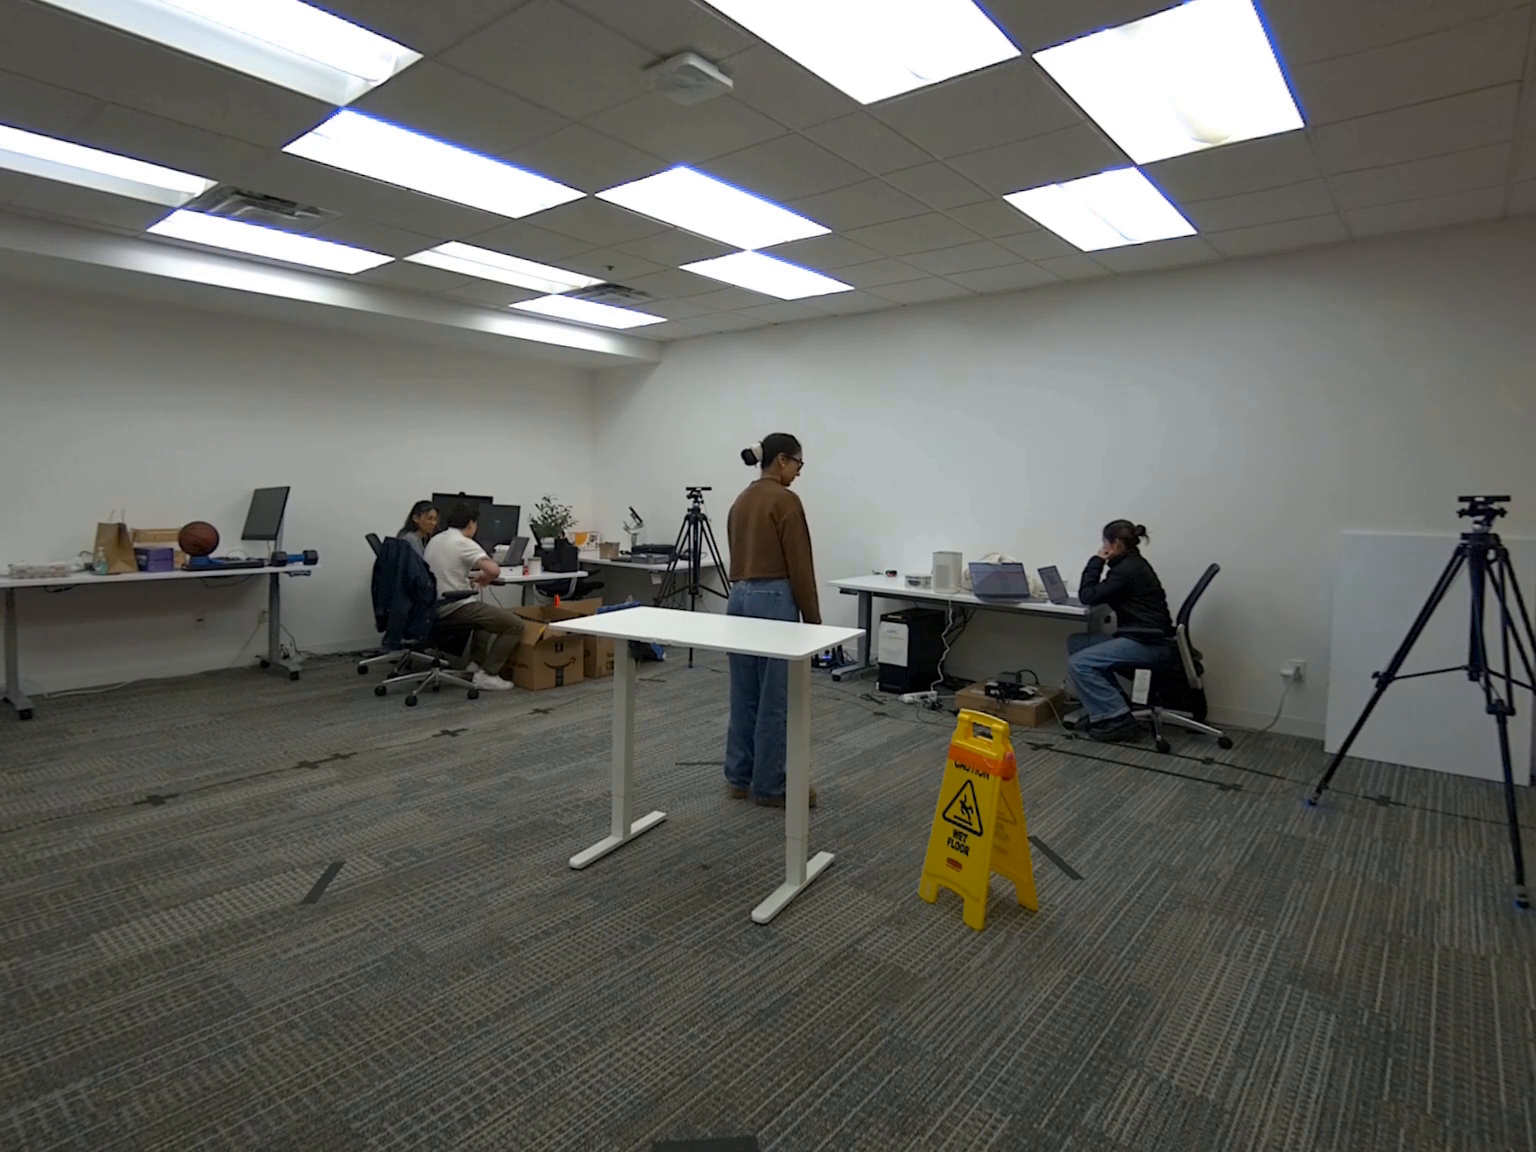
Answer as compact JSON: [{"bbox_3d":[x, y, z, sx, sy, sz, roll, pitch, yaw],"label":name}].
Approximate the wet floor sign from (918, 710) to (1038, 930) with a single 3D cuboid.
[{"bbox_3d":[0.716,0.787,2.874,0.281,0.644,0.291,0,4,-33],"label":"wet floor sign"}]
